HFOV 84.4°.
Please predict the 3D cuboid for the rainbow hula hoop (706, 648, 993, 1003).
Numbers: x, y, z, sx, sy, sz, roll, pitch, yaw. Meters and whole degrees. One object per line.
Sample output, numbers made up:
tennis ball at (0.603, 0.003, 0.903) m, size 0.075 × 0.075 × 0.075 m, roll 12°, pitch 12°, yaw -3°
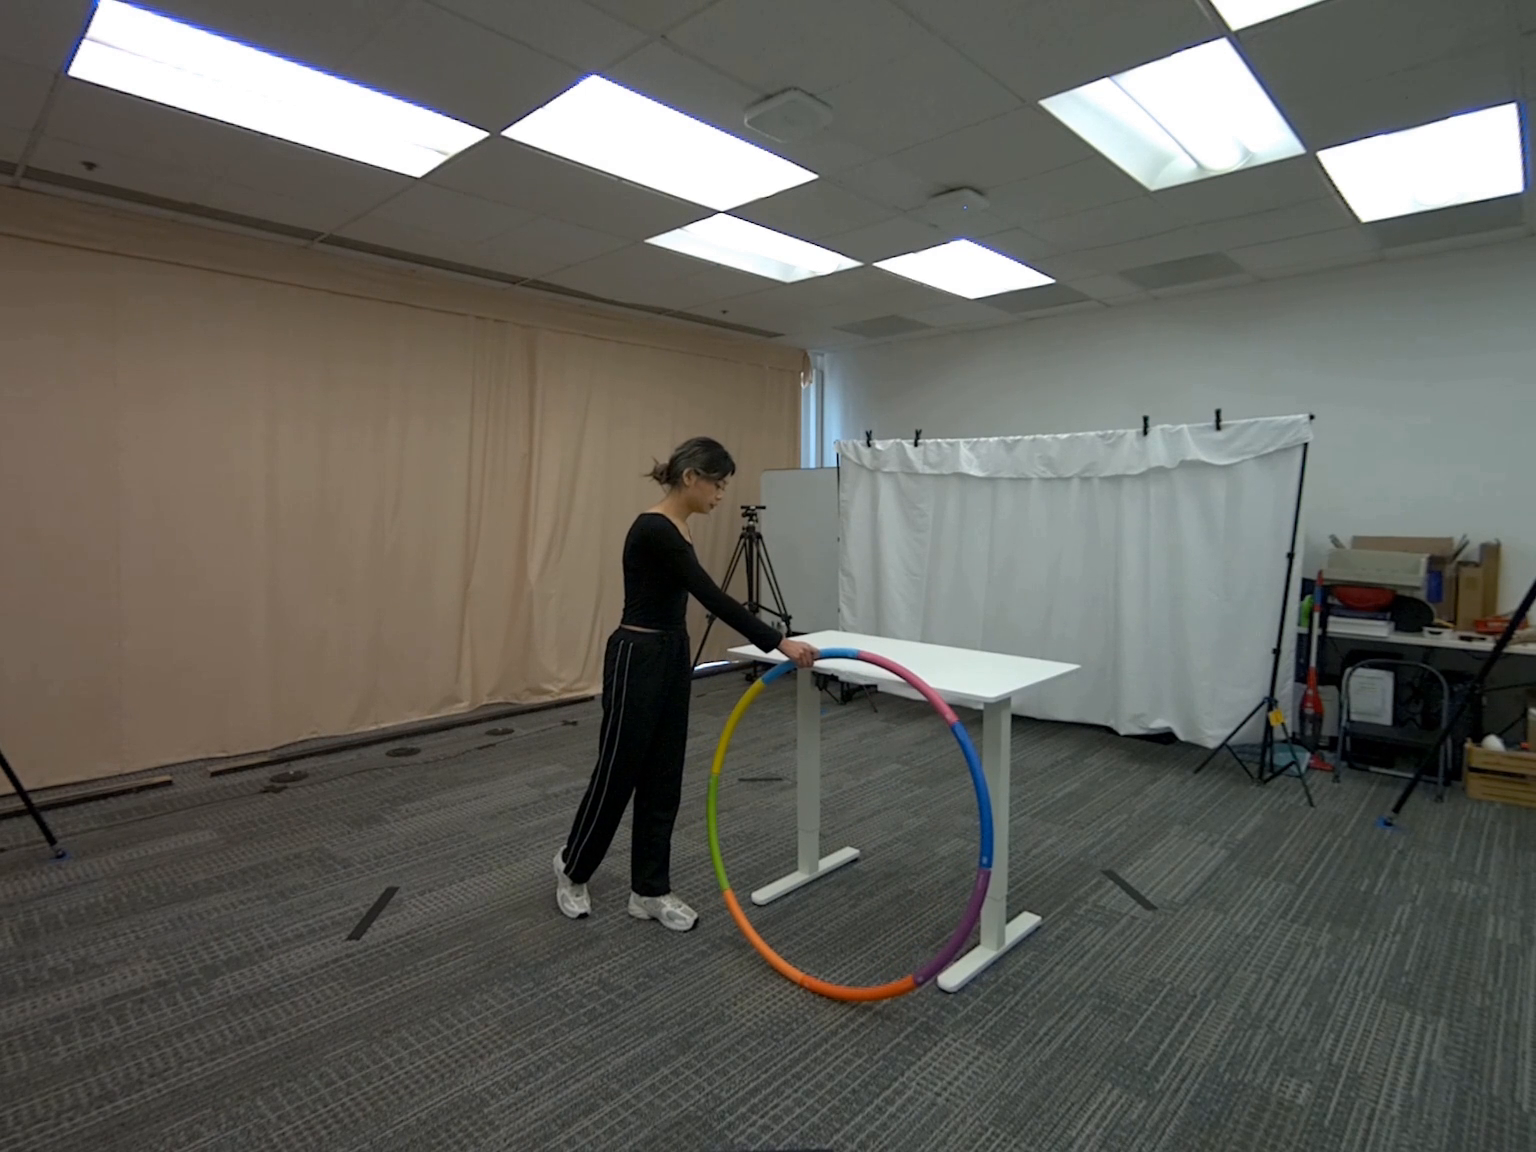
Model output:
rainbow hula hoop at (0.197, 0.709, 2.486) m, size 1.011 × 0.982 × 0.034 m, roll 3°, pitch -9°, yaw 40°
